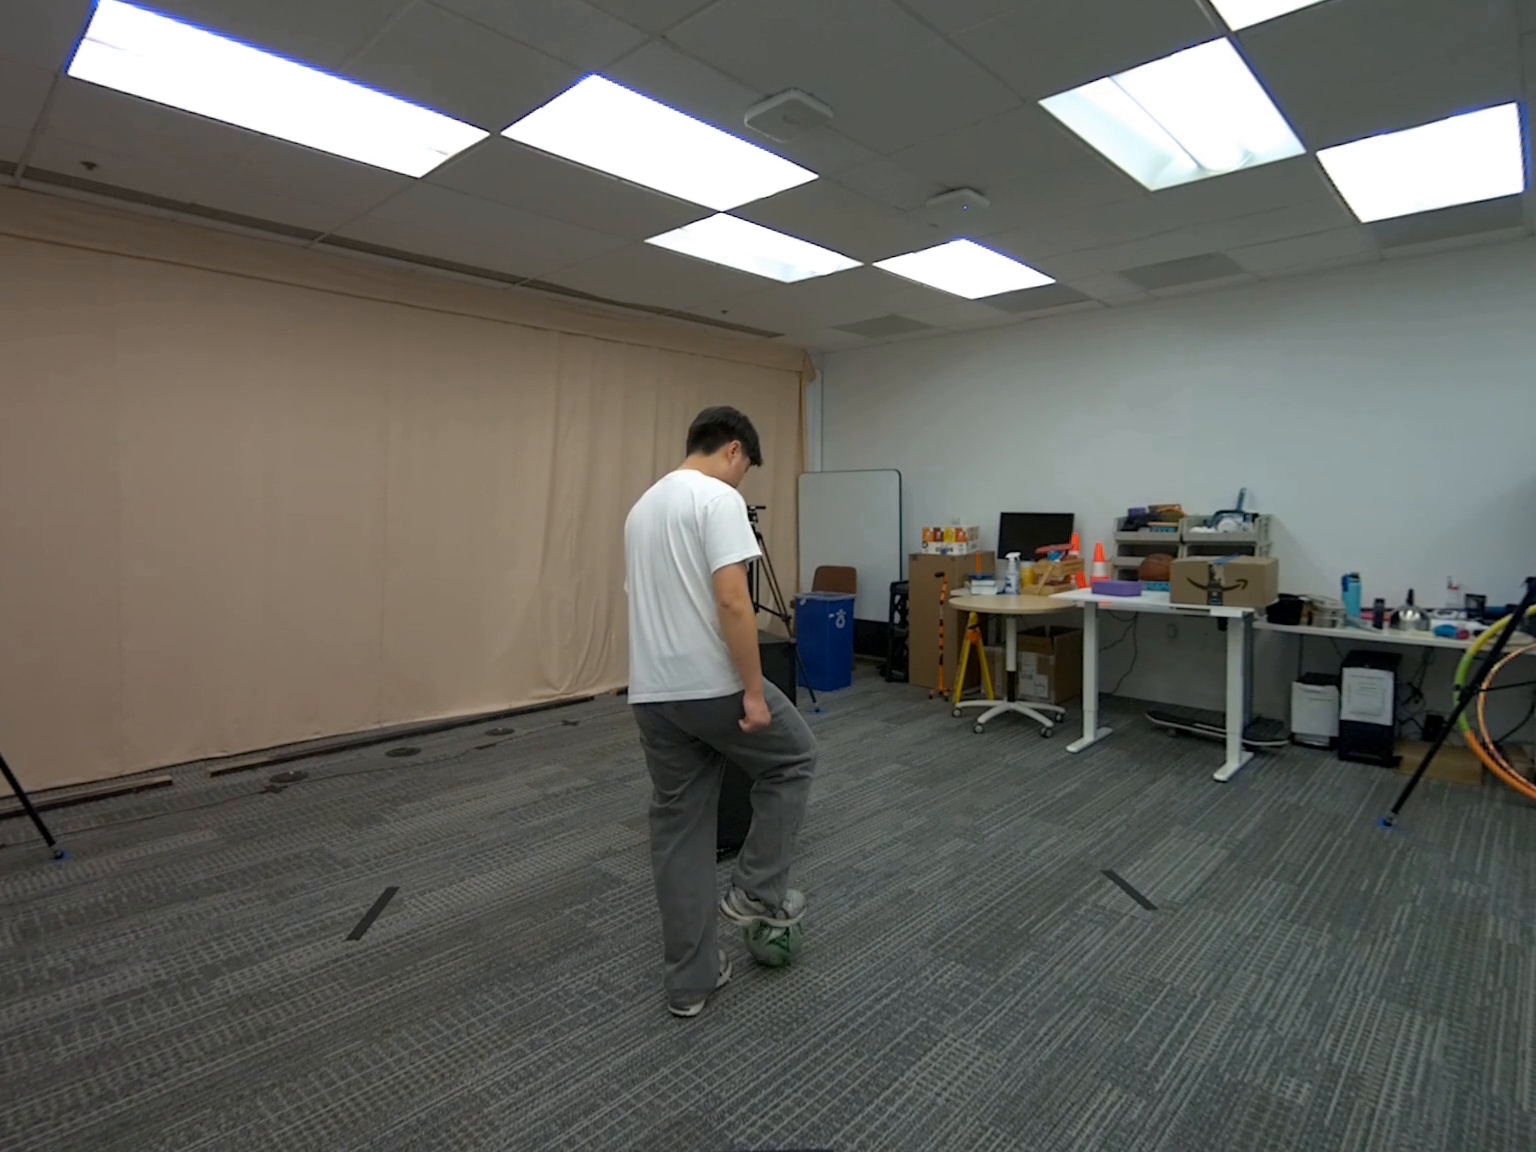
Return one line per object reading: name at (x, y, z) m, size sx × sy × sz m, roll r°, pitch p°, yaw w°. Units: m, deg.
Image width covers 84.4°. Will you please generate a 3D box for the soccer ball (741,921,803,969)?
soccer ball at (0.022, 1.082, 2.556) m, size 0.187 × 0.187 × 0.188 m, roll 0°, pitch 4°, yaw -2°
